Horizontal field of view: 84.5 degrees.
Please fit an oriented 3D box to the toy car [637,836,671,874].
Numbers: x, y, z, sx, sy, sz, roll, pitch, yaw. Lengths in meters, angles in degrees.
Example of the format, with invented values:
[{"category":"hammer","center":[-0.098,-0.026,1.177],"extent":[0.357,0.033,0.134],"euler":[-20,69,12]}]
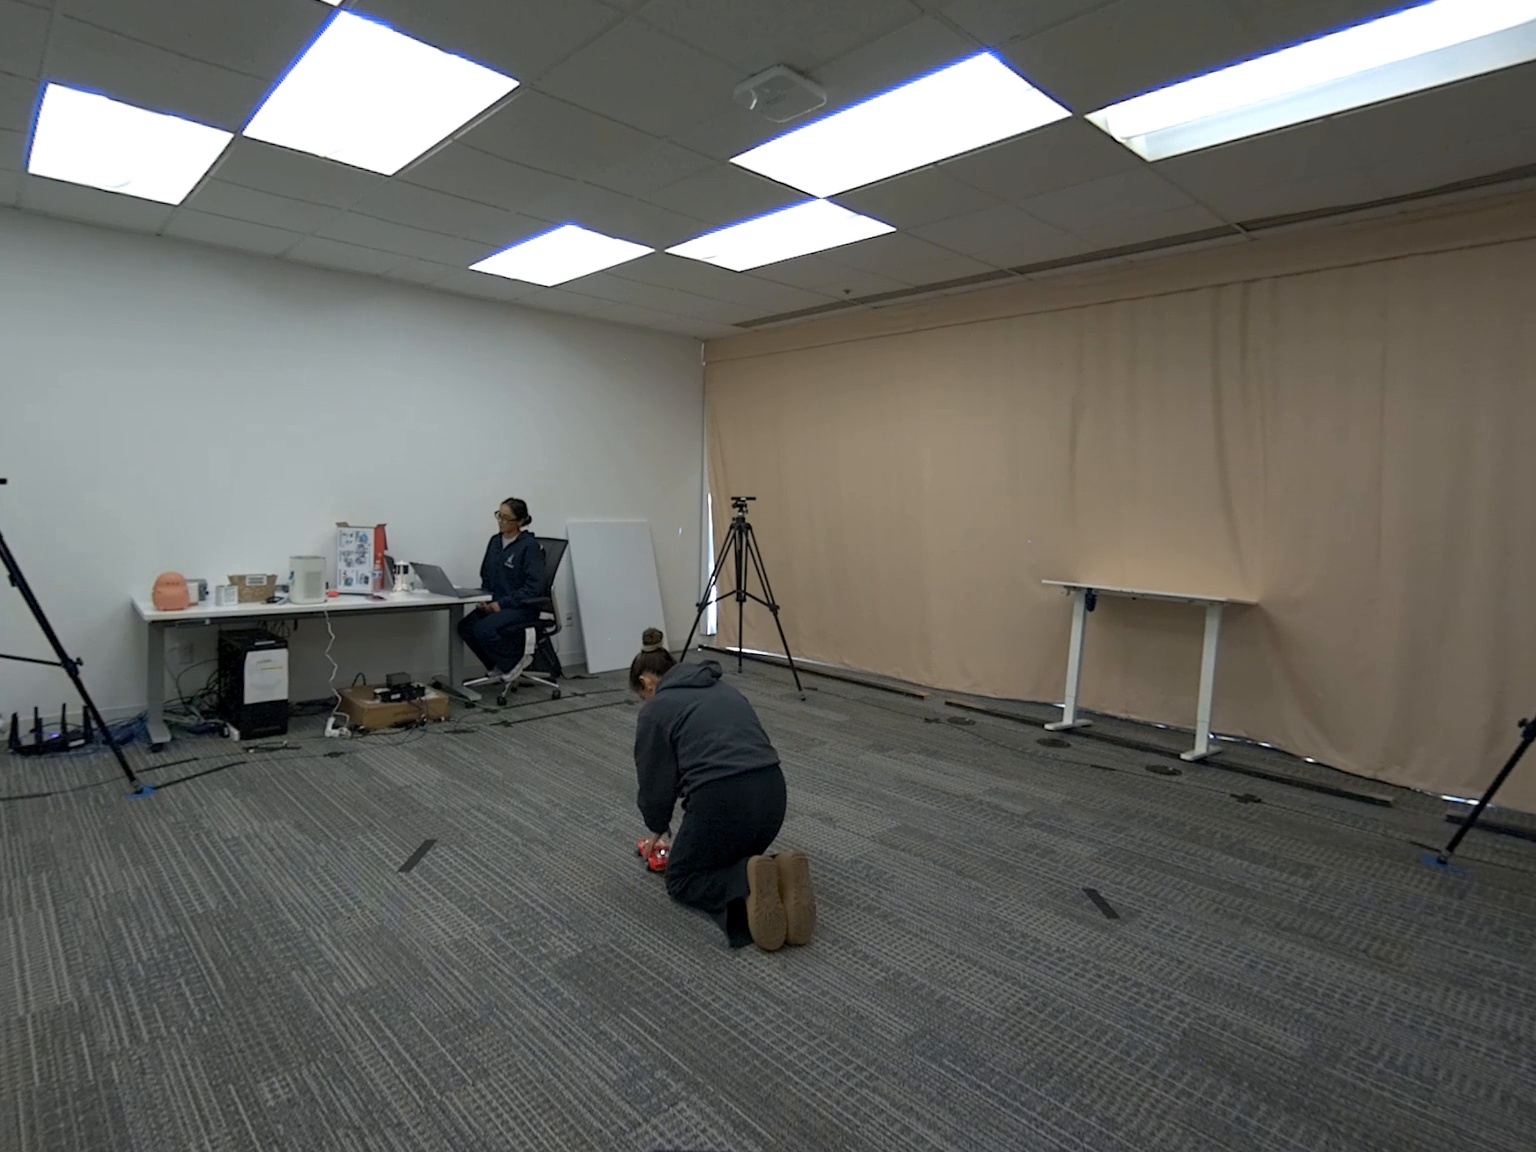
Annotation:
[{"category":"toy car","center":[-0.426,1.058,3.207],"extent":[0.128,0.083,0.258],"euler":[-3,-3,-22]}]
